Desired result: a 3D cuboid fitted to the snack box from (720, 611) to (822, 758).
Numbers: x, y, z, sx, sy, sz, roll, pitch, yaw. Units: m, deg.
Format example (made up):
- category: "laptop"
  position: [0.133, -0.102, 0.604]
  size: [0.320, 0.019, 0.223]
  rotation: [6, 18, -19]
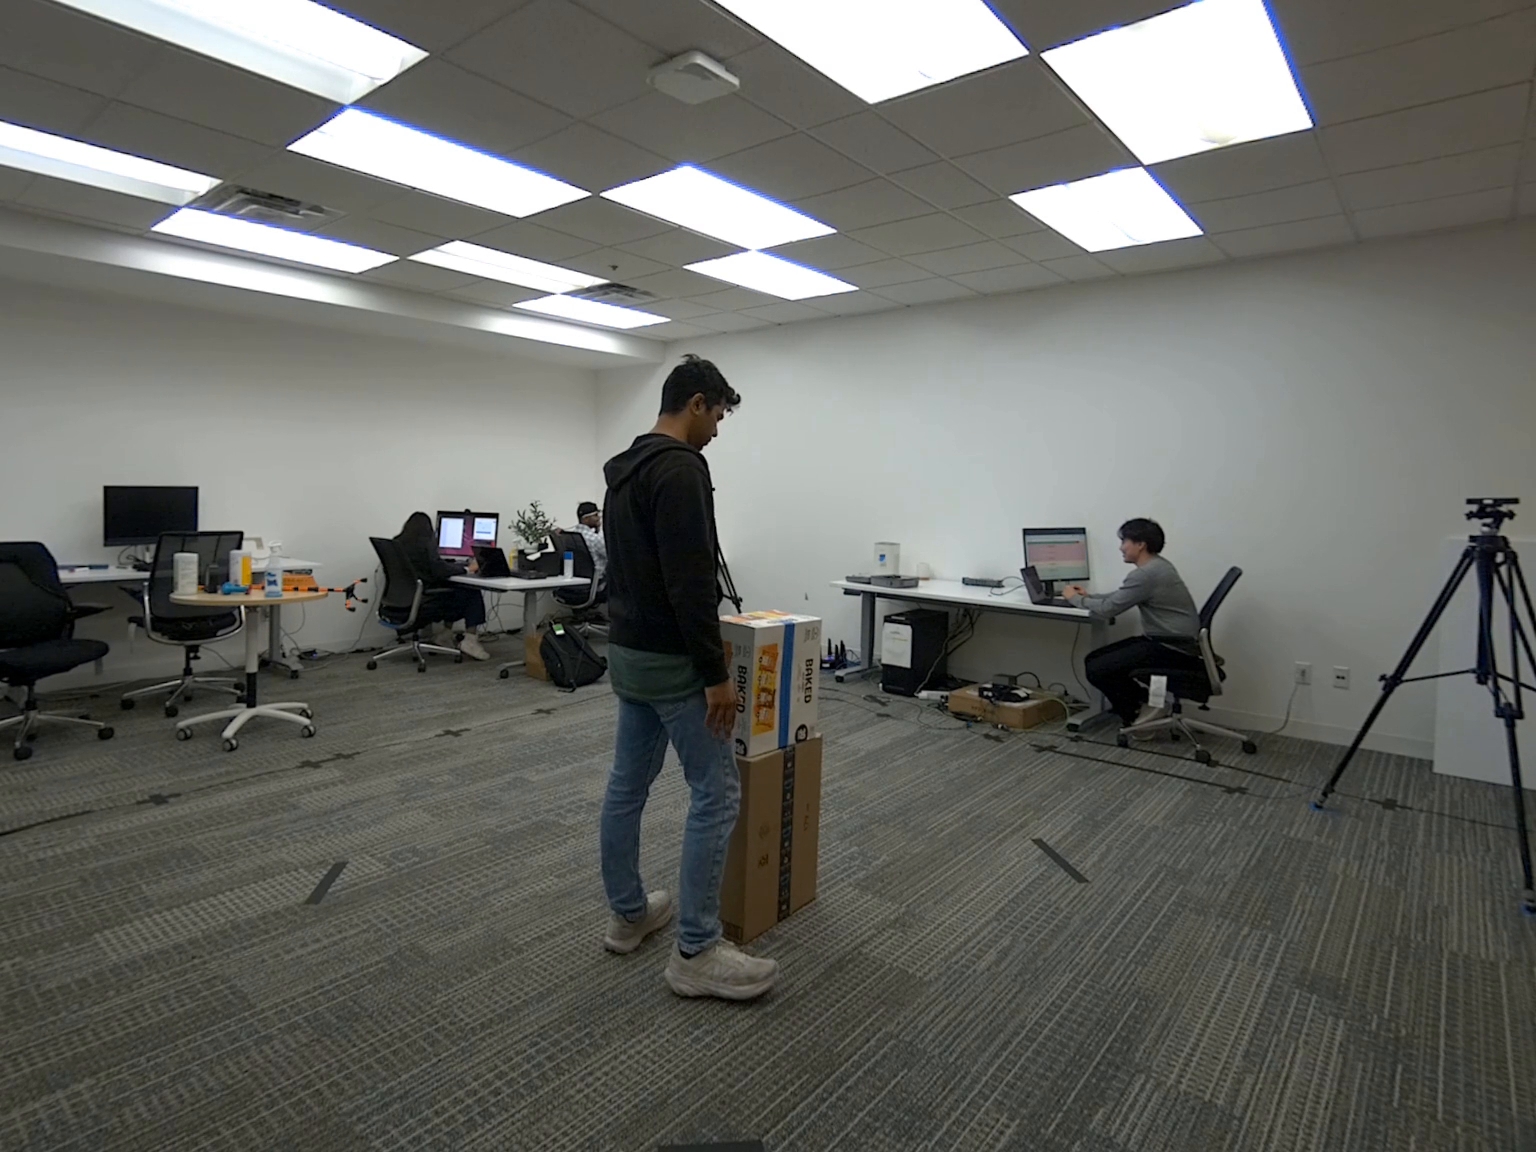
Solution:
- category: "snack box"
  position: [-0.027, 0.332, 2.774]
  size: [0.213, 0.403, 0.330]
  rotation: [6, 6, 42]
